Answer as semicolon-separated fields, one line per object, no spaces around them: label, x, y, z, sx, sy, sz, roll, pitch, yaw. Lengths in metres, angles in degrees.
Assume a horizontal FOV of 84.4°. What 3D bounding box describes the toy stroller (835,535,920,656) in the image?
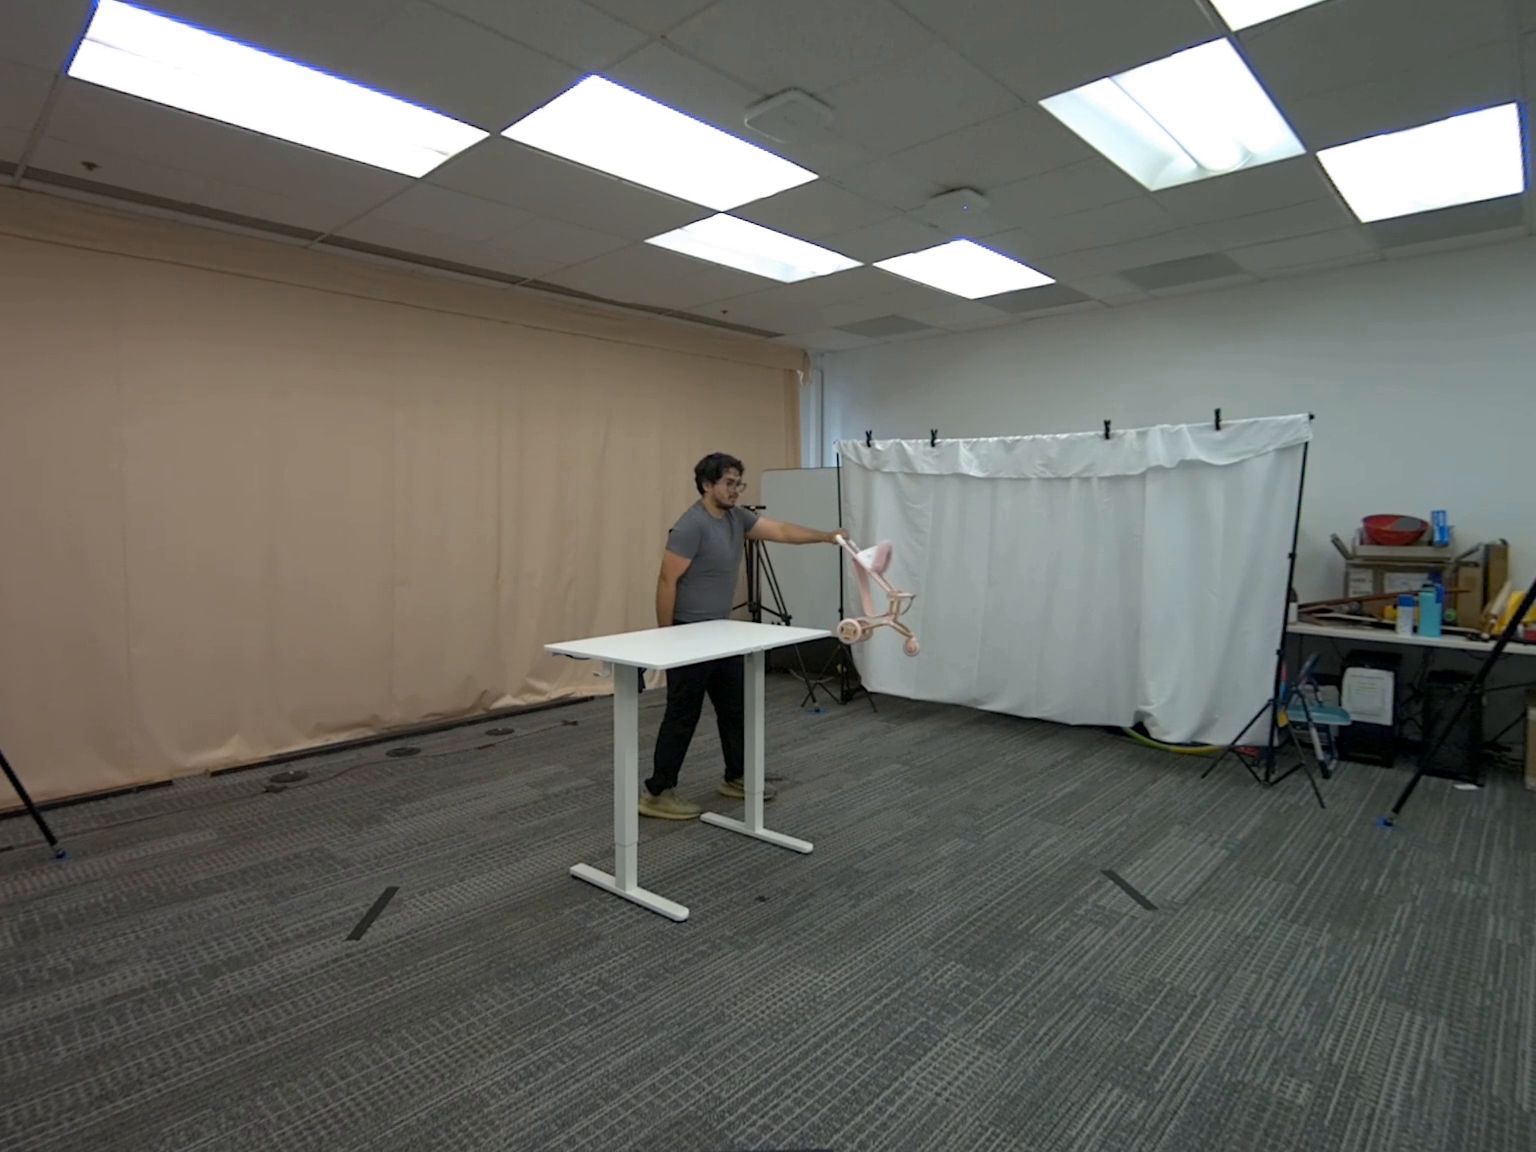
toy stroller;0.487;0.080;3.674;0.349;0.536;0.274;-3;-4;24
